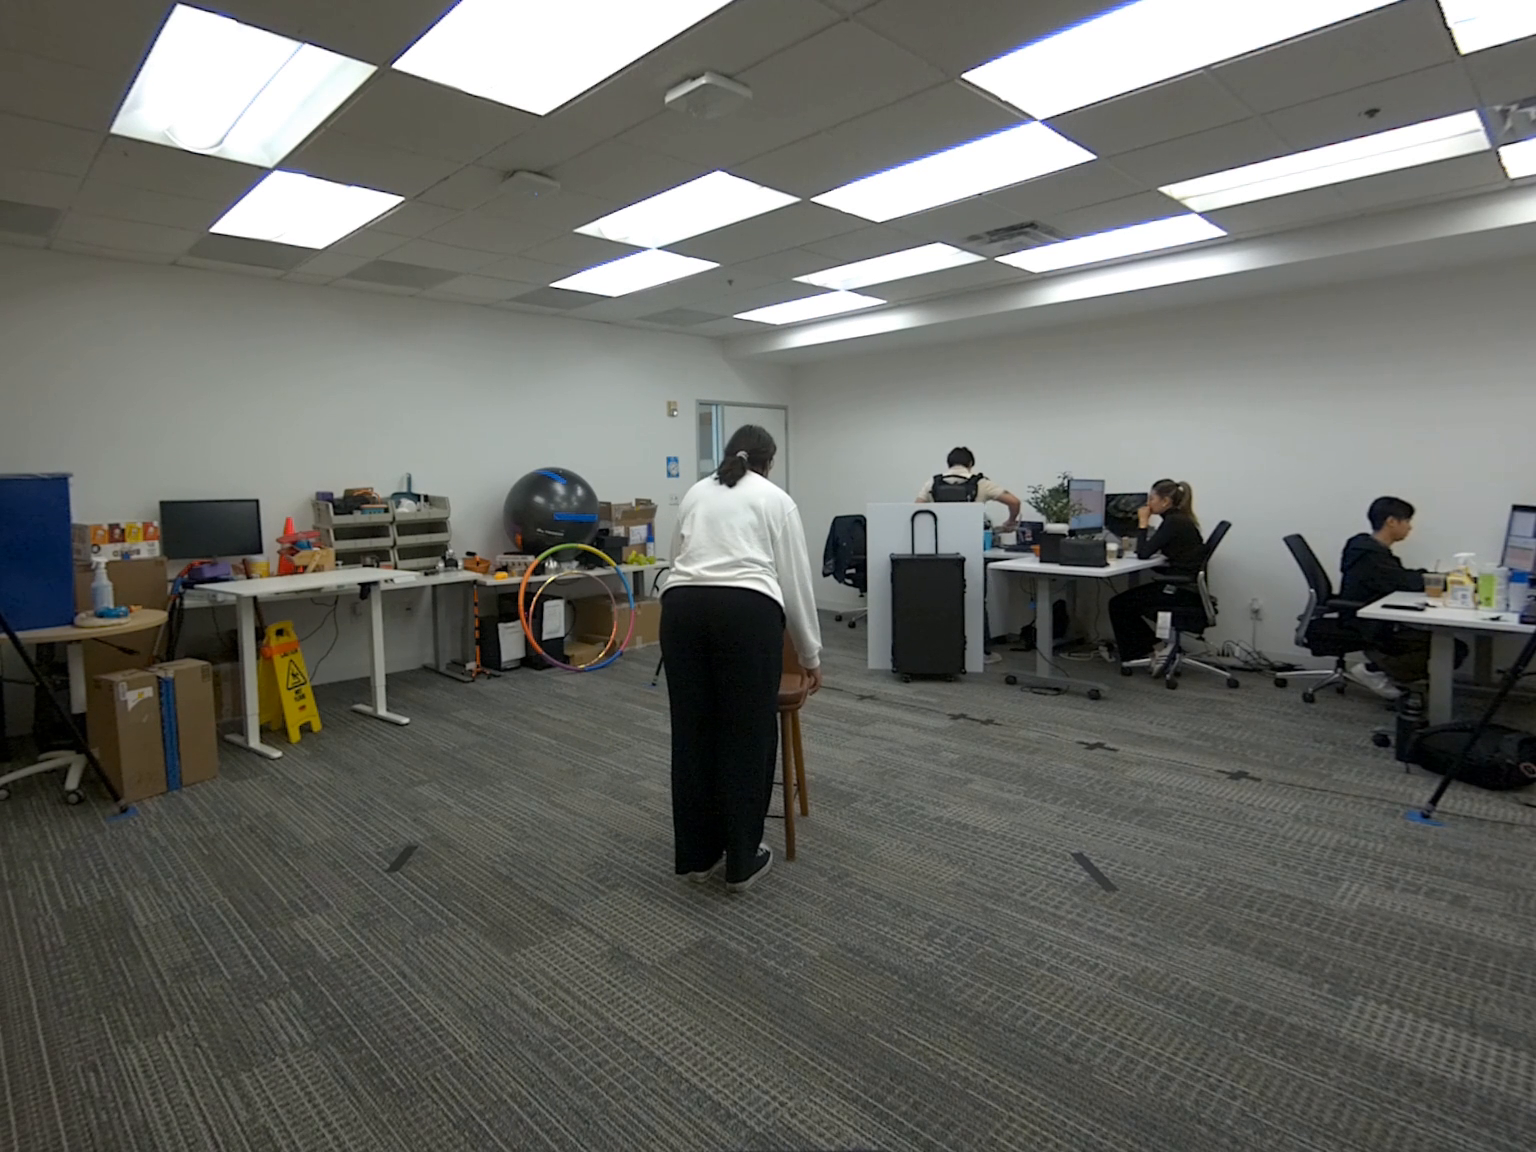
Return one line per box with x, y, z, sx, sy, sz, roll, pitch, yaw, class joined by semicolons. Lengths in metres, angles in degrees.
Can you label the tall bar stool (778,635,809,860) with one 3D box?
-0.059;0.581;3.371;0.463;0.888;0.462;0;2;13;tall bar stool
